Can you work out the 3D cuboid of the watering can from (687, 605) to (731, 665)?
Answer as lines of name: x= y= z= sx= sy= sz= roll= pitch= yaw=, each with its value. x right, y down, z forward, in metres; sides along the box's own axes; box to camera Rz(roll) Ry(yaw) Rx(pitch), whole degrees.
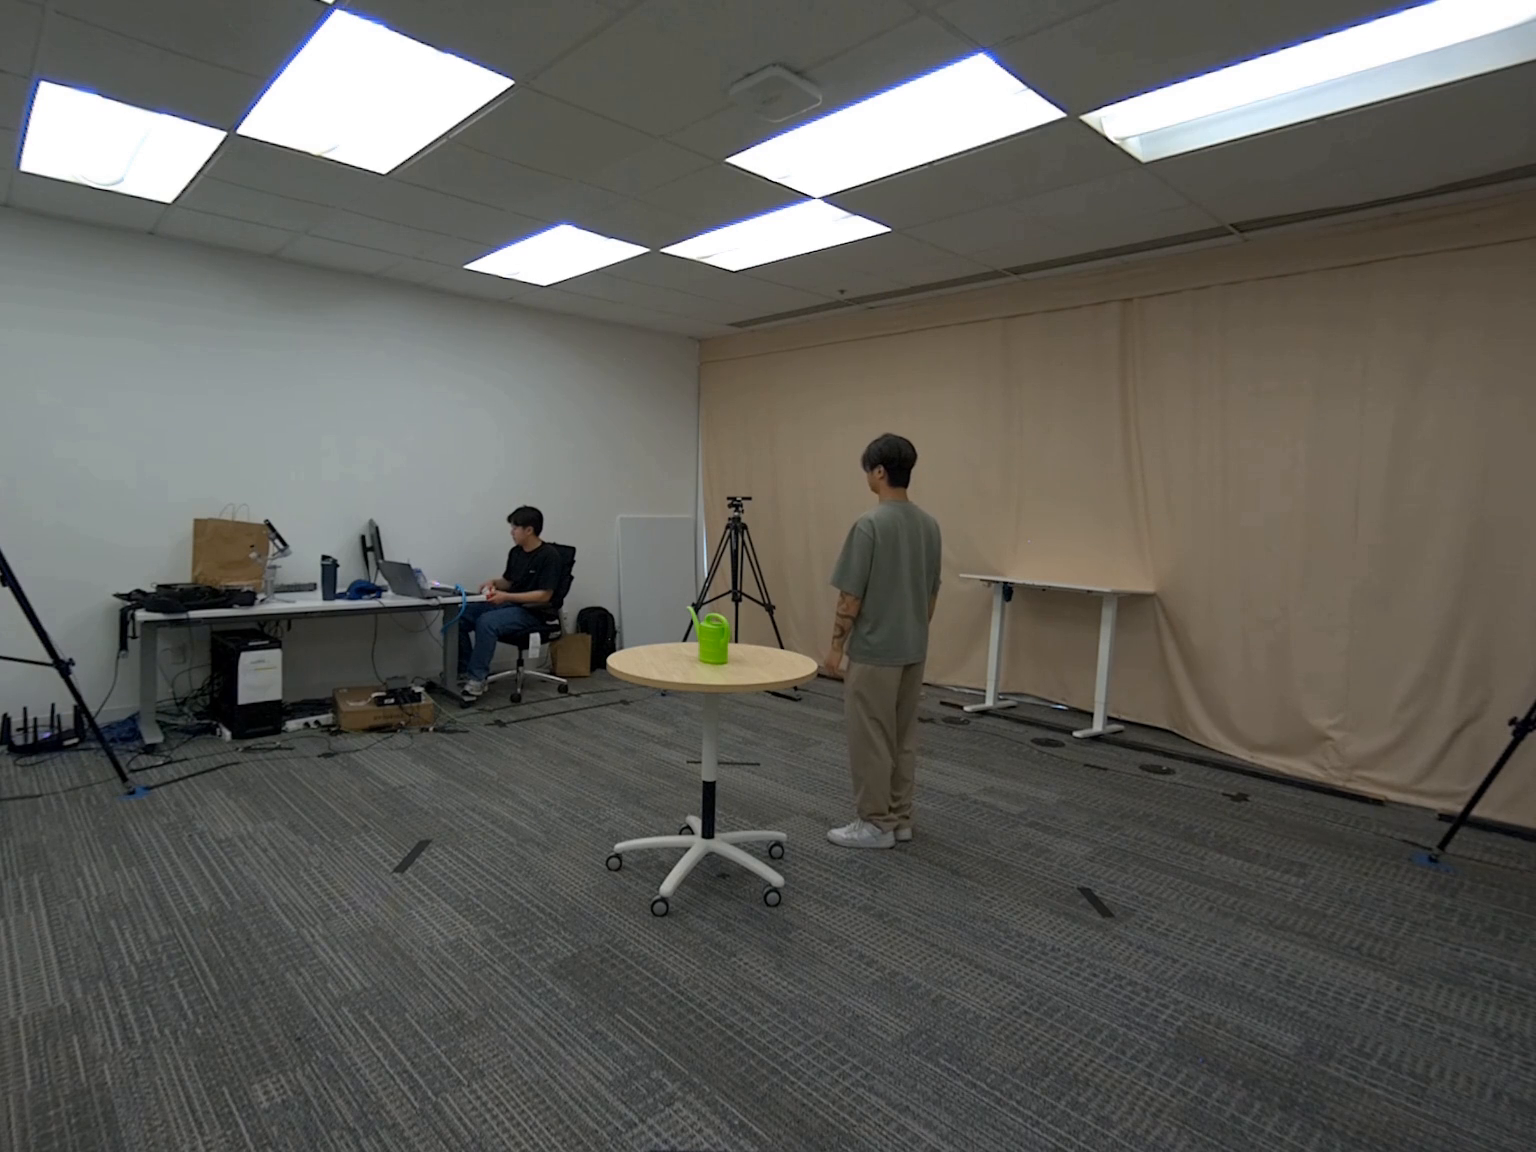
watering can: x=-0.221 y=0.221 z=3.105 sx=0.096 sy=0.176 sz=0.284 roll=1 pitch=6 yaw=-23
